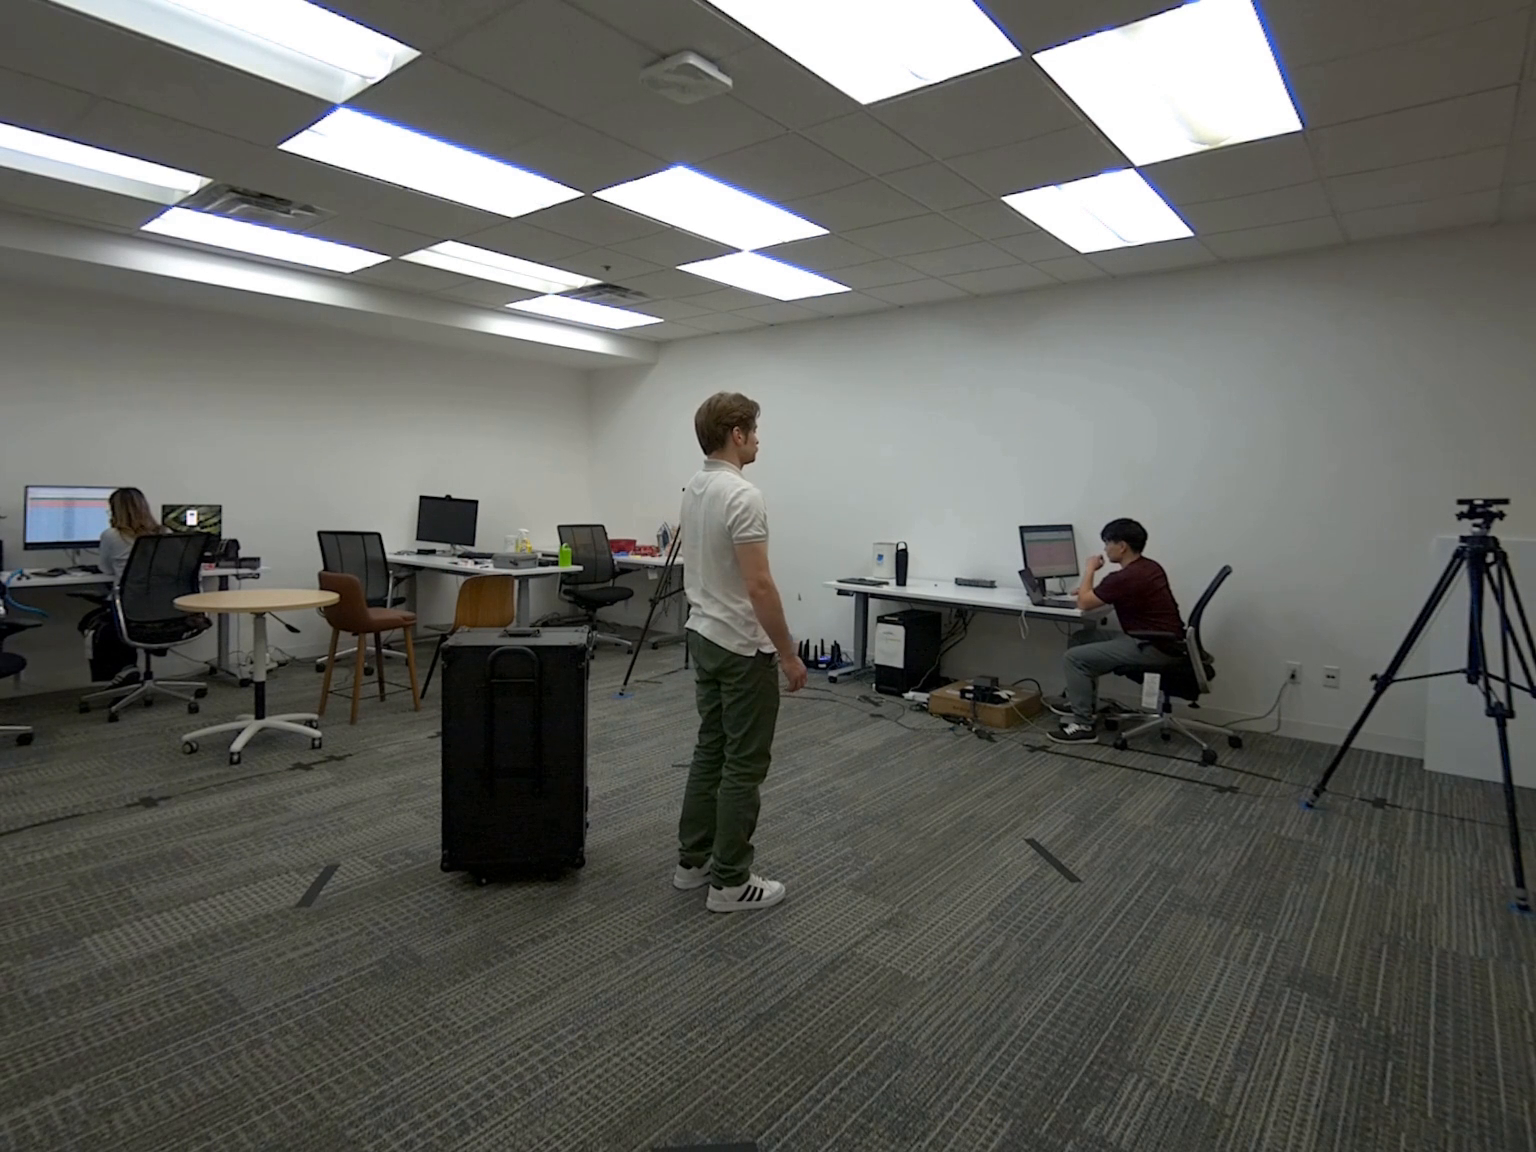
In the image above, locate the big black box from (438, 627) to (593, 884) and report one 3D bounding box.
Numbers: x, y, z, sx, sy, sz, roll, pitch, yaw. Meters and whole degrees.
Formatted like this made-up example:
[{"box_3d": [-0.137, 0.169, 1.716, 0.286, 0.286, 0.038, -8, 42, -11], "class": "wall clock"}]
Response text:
[{"box_3d": [-0.905, 0.641, 3.068, 0.518, 0.858, 0.401, 1, 4, -7], "class": "big black box"}]
